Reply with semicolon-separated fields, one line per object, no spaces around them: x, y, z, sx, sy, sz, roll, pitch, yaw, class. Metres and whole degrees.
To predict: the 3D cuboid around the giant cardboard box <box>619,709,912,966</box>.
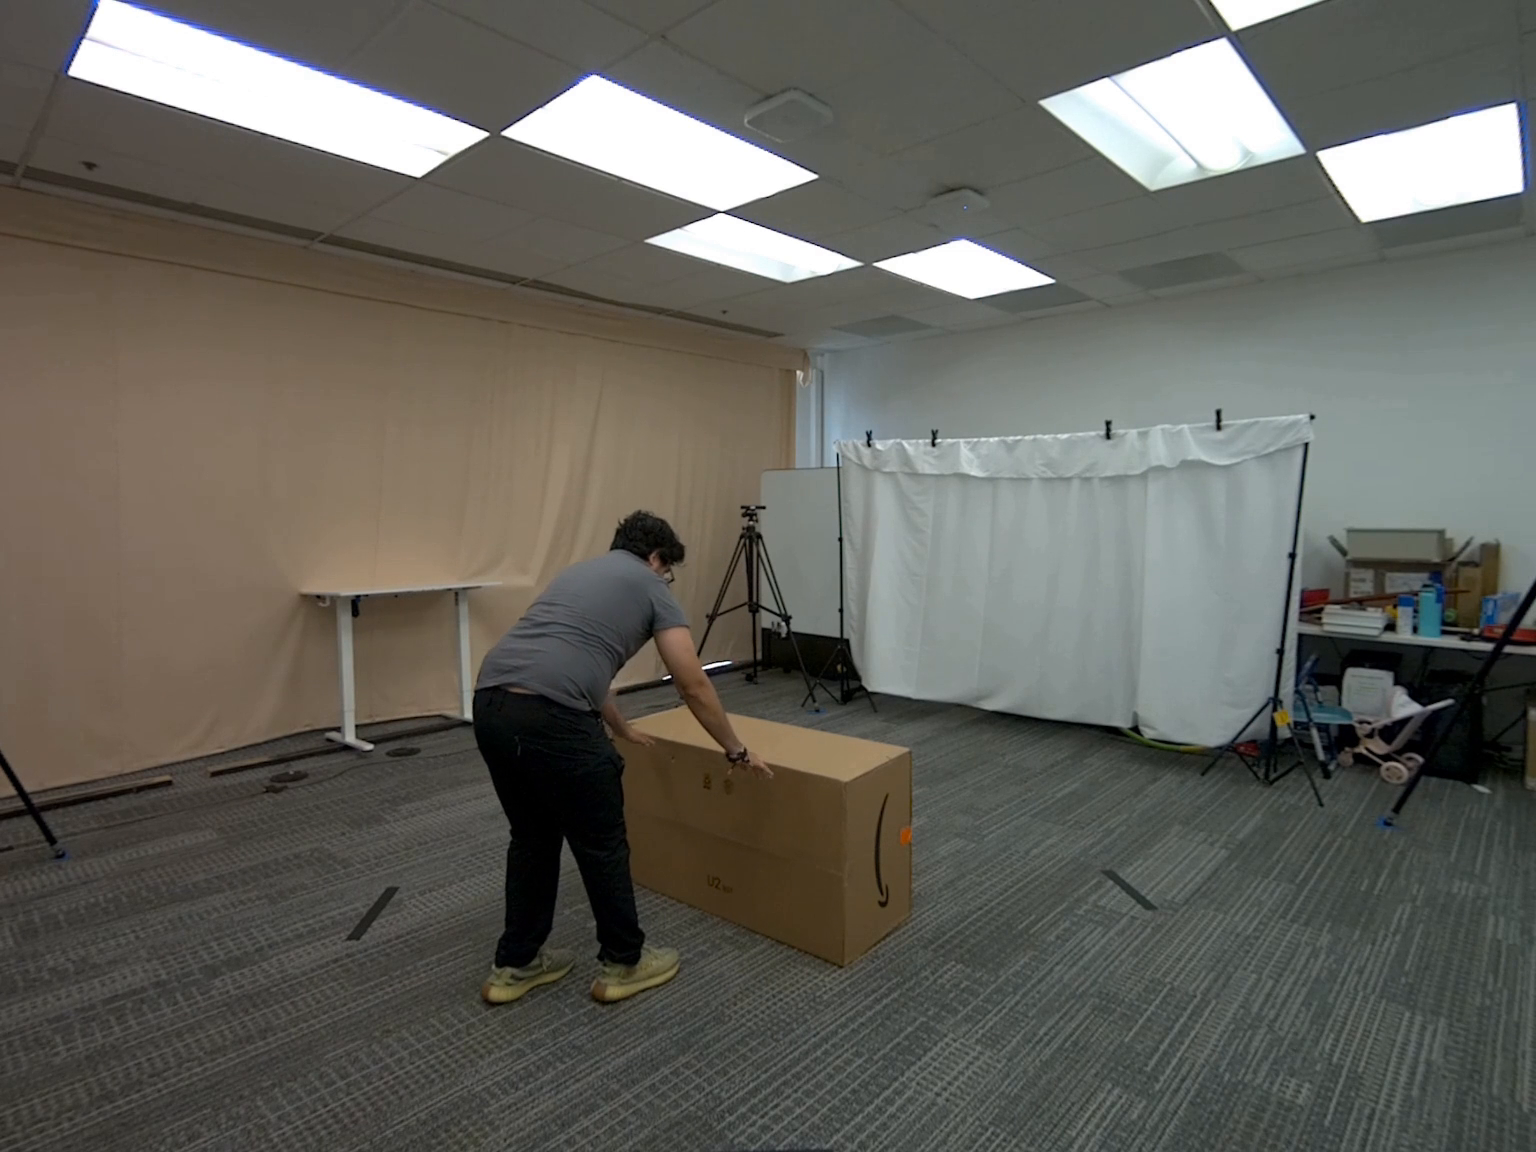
-0.045;0.852;3.003;1.059;0.576;0.413;3;5;39;giant cardboard box
